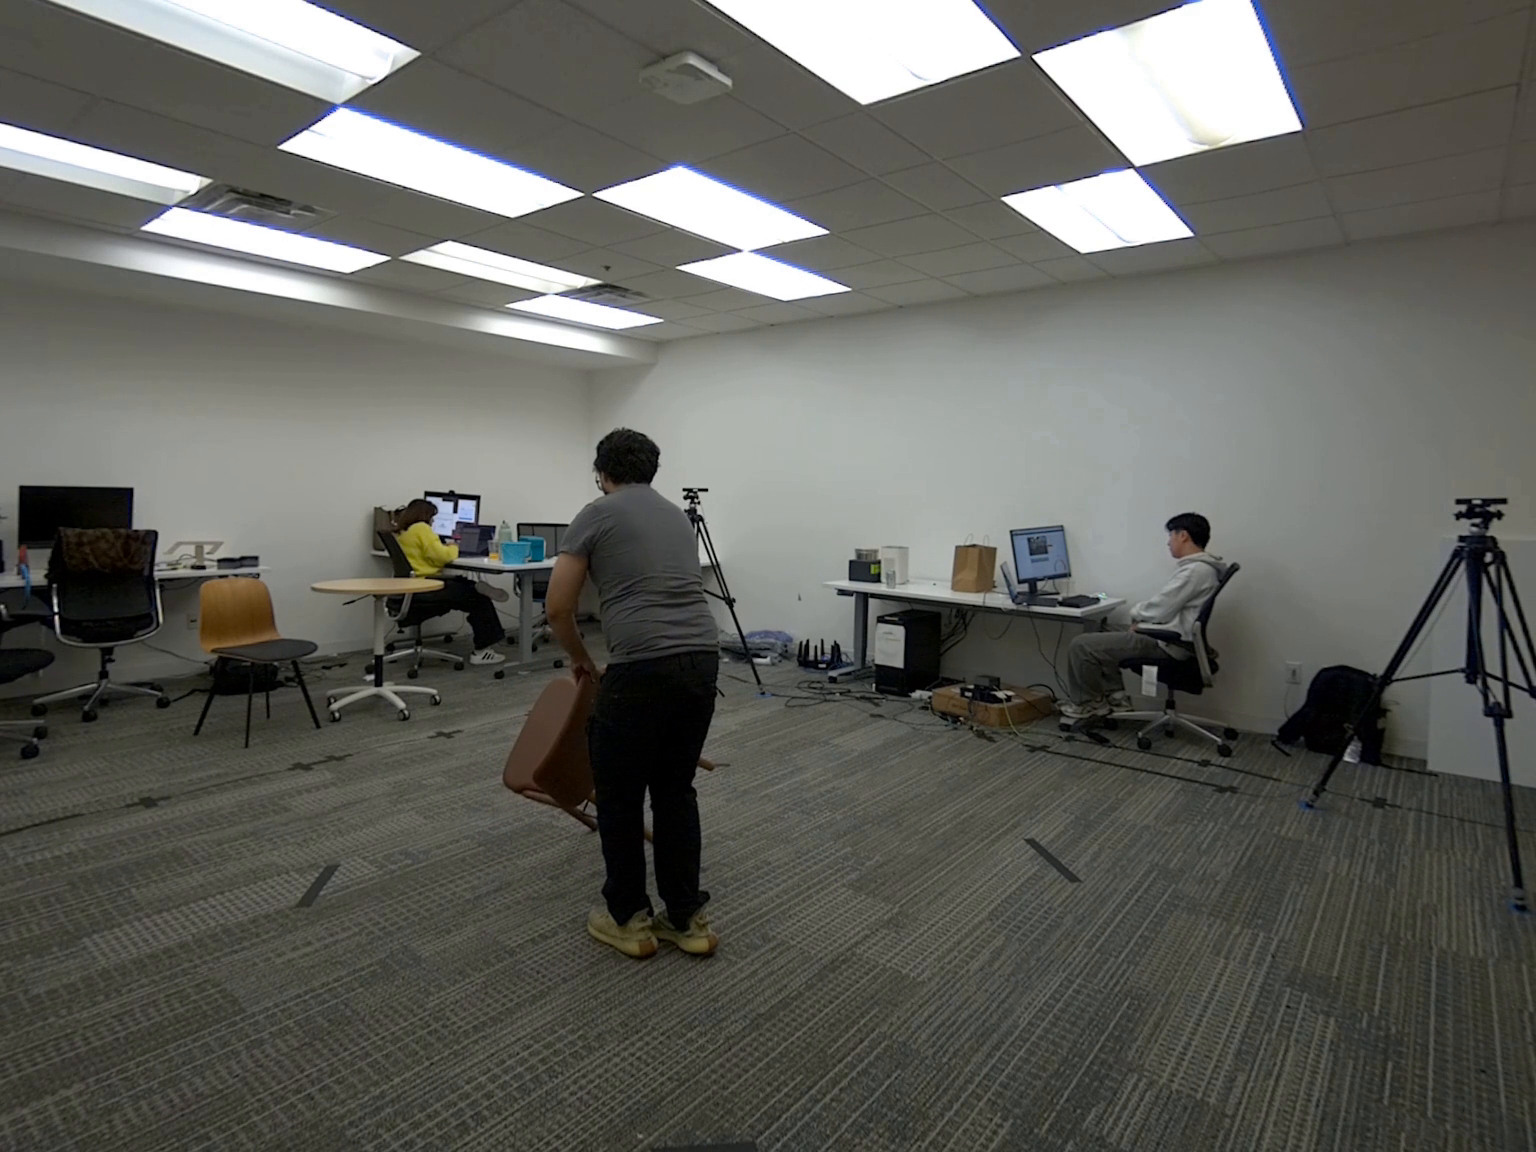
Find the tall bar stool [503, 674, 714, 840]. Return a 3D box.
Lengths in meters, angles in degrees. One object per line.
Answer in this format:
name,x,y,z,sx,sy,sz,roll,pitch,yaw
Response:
tall bar stool,-0.651,0.657,3.105,0.483,0.461,0.853,8,-28,34
